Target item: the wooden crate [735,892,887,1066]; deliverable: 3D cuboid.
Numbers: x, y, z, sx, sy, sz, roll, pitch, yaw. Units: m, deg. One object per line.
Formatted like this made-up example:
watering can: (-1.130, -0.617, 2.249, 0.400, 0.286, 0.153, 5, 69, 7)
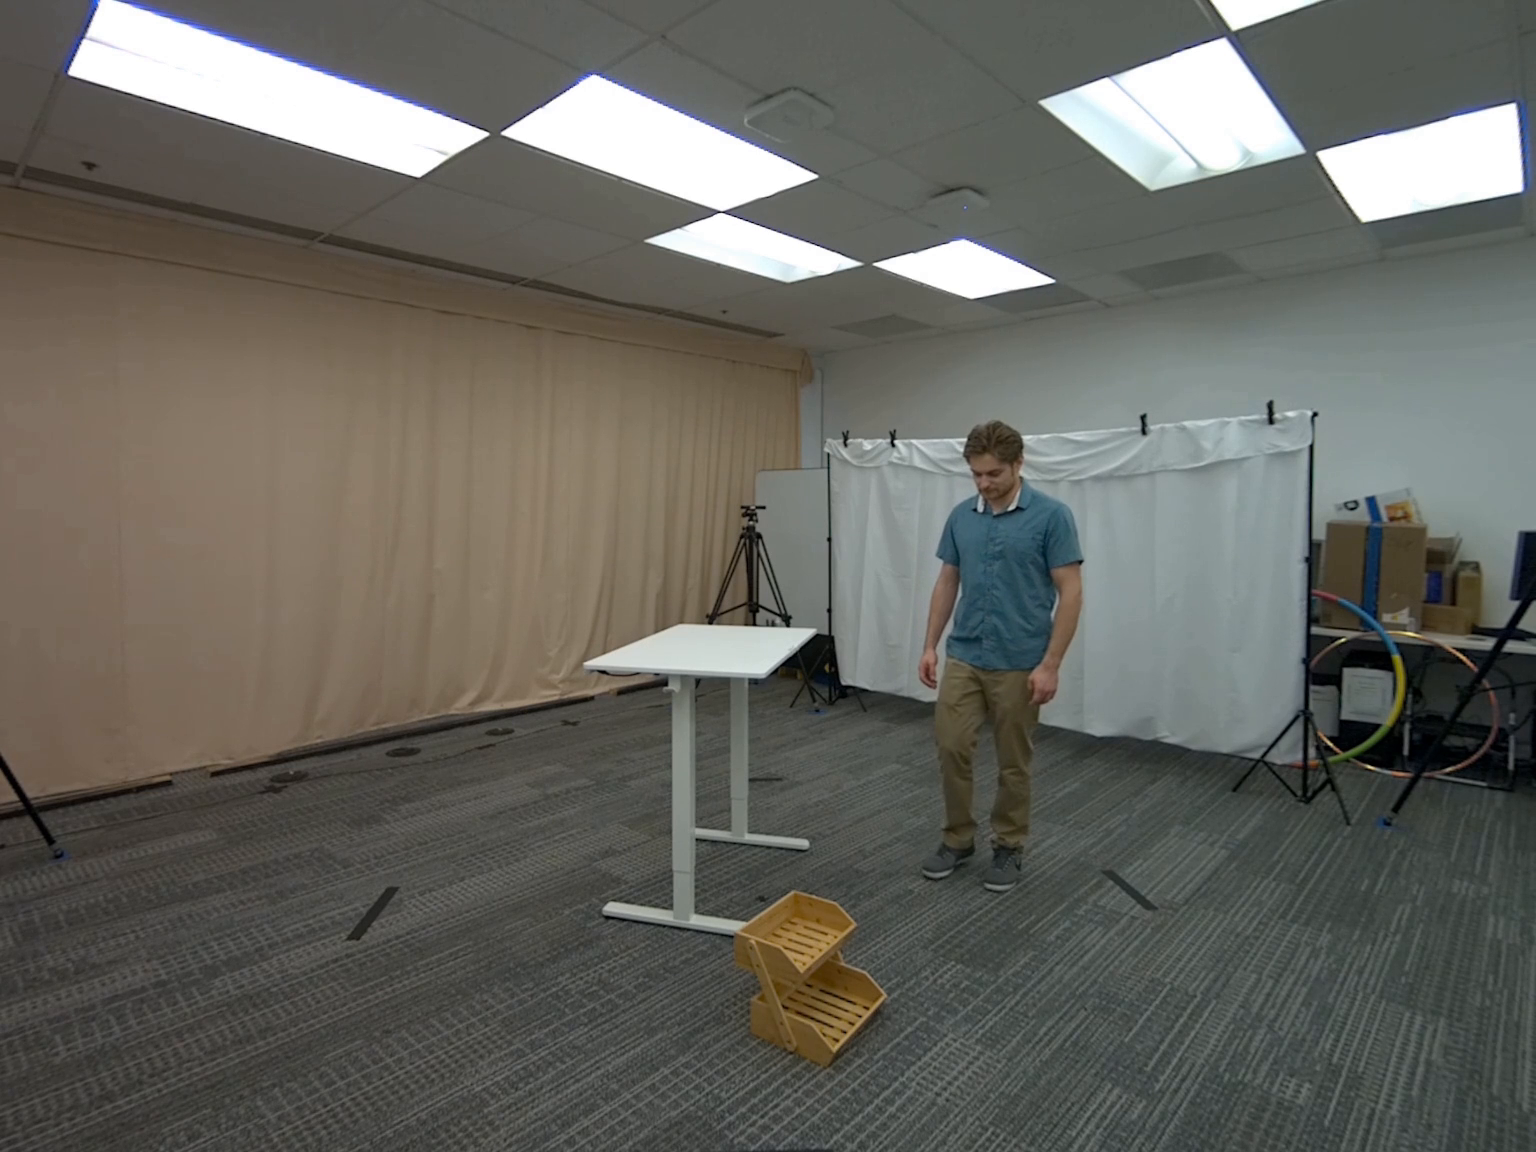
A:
wooden crate: (0.127, 1.072, 2.272, 0.311, 0.273, 0.315, 2, 4, 35)
